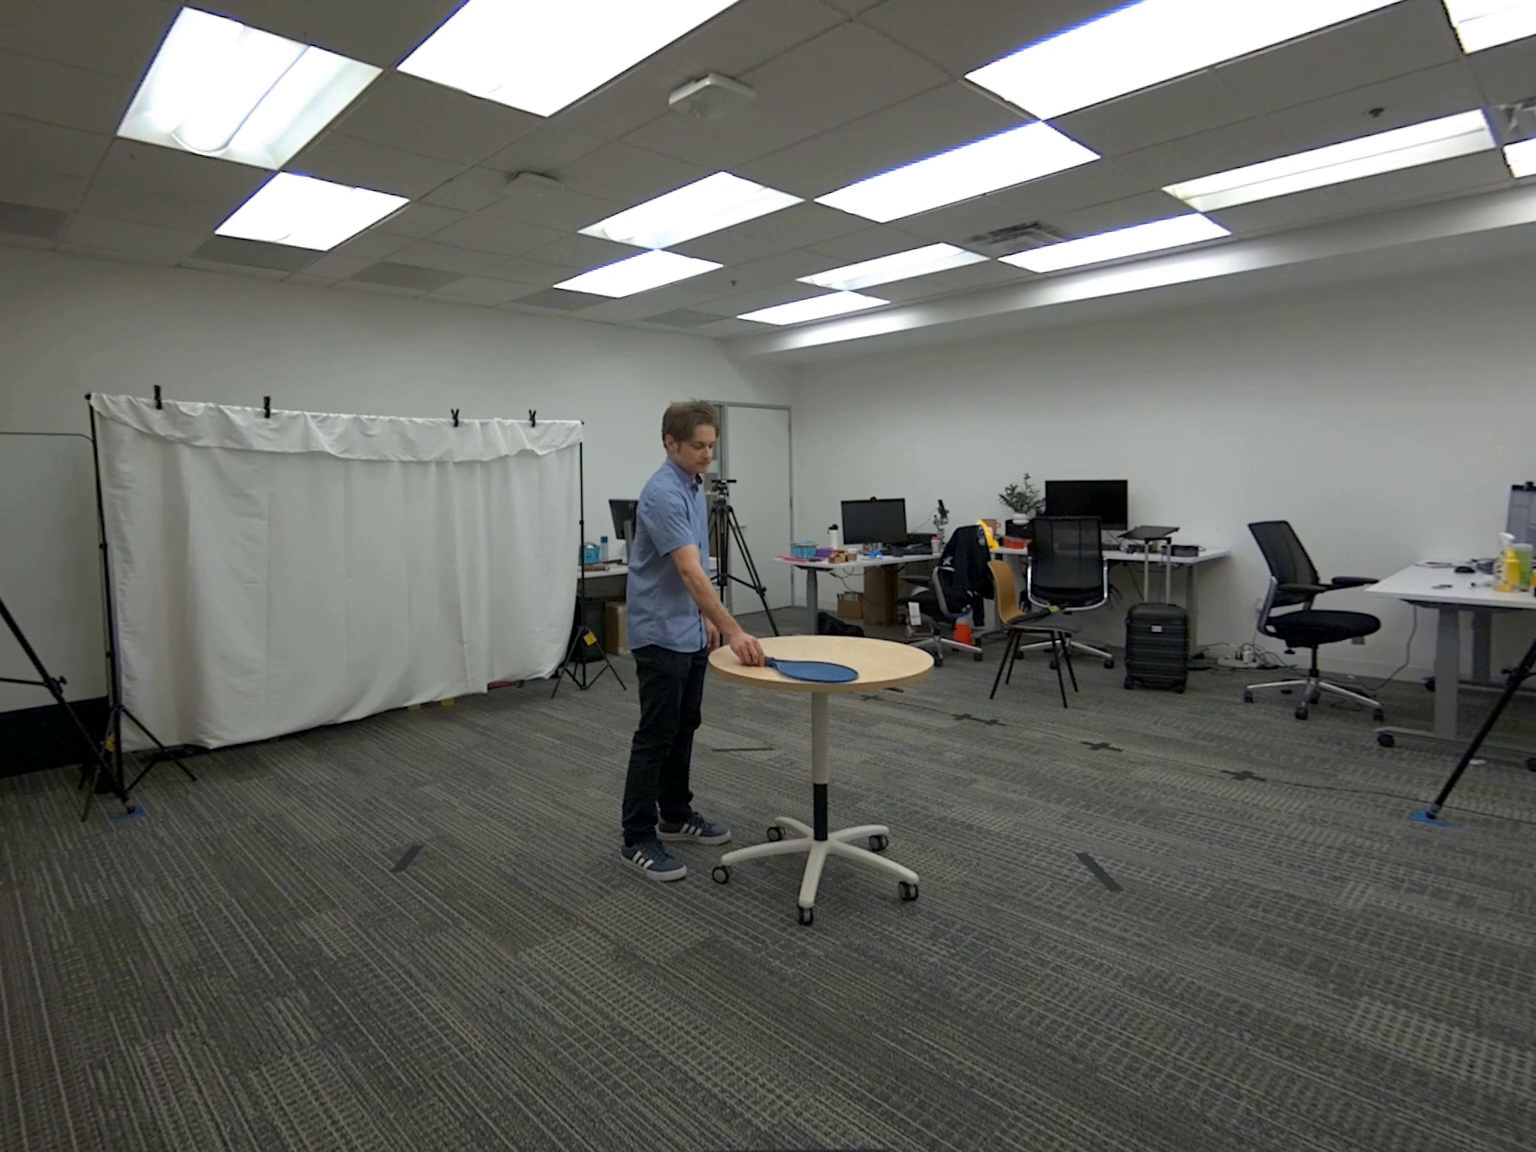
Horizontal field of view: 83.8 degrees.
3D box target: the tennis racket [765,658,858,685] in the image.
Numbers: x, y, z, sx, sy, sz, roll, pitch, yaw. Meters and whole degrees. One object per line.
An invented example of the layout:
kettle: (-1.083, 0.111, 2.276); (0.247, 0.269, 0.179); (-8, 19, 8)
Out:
tennis racket: (0.091, 0.295, 2.720); (0.446, 0.031, 0.208); (6, 8, 39)
